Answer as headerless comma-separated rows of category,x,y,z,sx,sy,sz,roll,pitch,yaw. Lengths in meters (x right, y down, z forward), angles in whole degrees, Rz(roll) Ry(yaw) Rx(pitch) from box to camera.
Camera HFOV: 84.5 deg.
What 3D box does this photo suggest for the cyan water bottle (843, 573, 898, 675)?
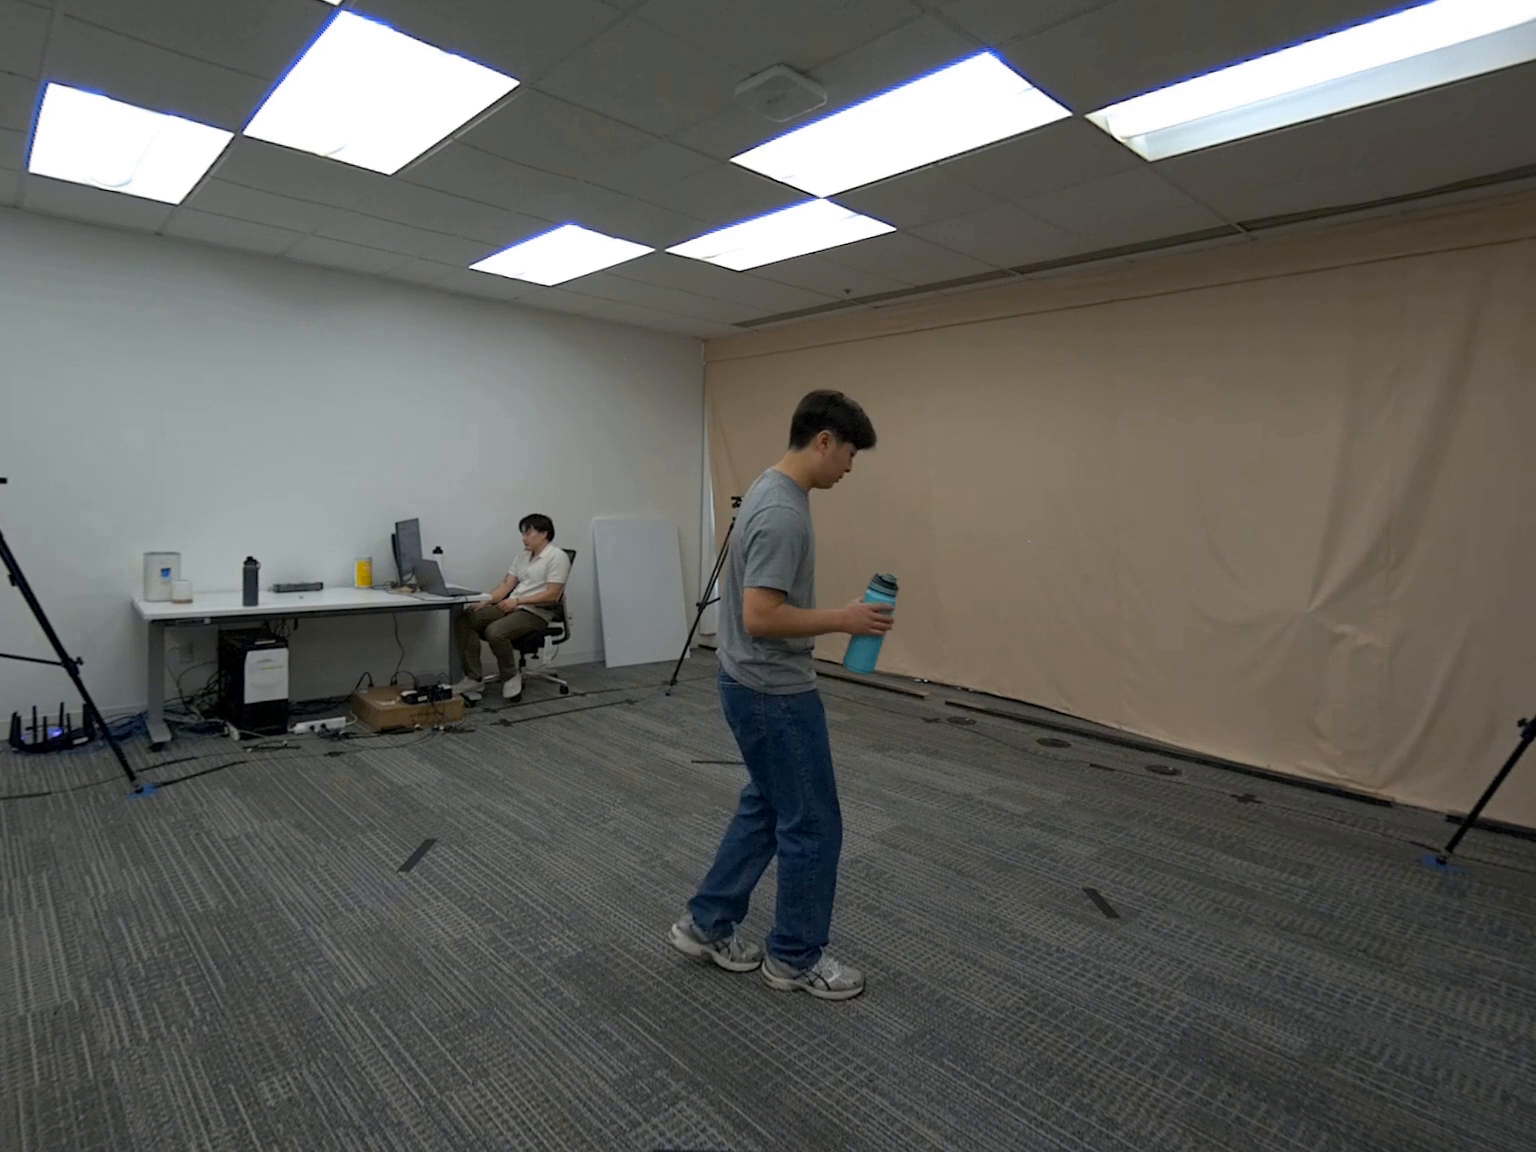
cyan water bottle,0.262,0.128,2.342,0.092,0.282,0.093,16,6,-3
